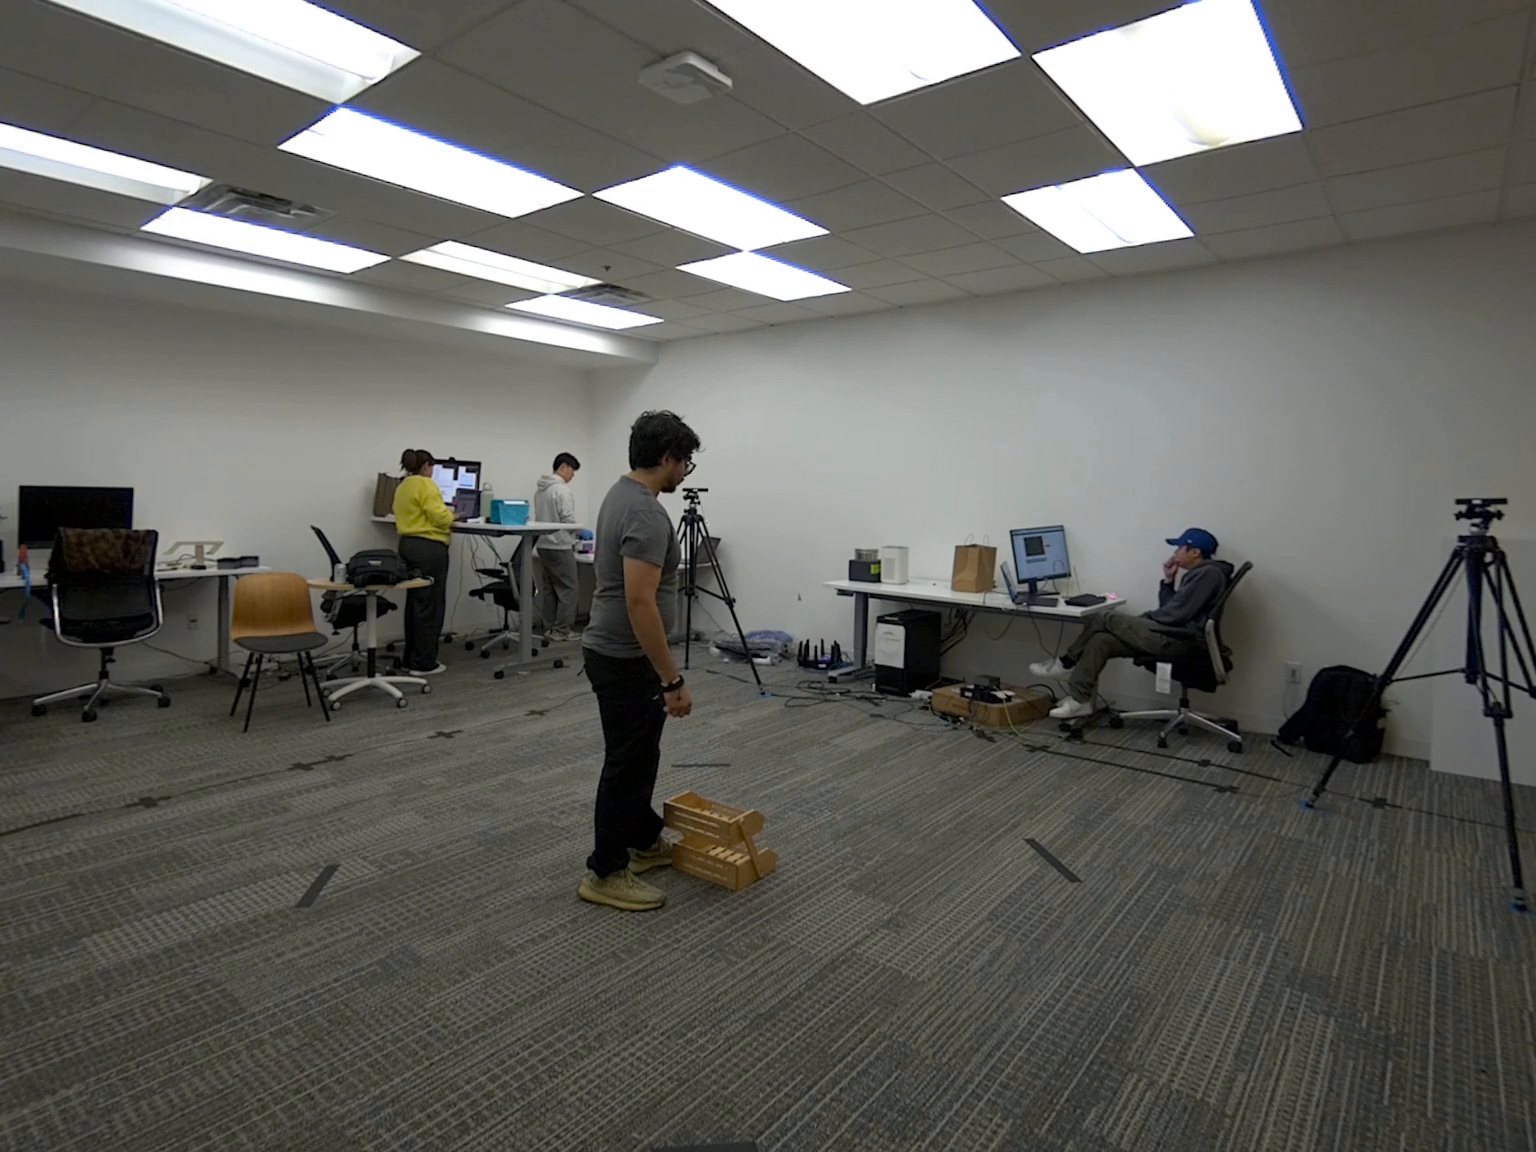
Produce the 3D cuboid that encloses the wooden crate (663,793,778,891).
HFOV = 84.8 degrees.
[{"bbox_3d":[-0.180,0.940,3.103,0.335,0.272,0.294,4,6,35],"label":"wooden crate"}]
